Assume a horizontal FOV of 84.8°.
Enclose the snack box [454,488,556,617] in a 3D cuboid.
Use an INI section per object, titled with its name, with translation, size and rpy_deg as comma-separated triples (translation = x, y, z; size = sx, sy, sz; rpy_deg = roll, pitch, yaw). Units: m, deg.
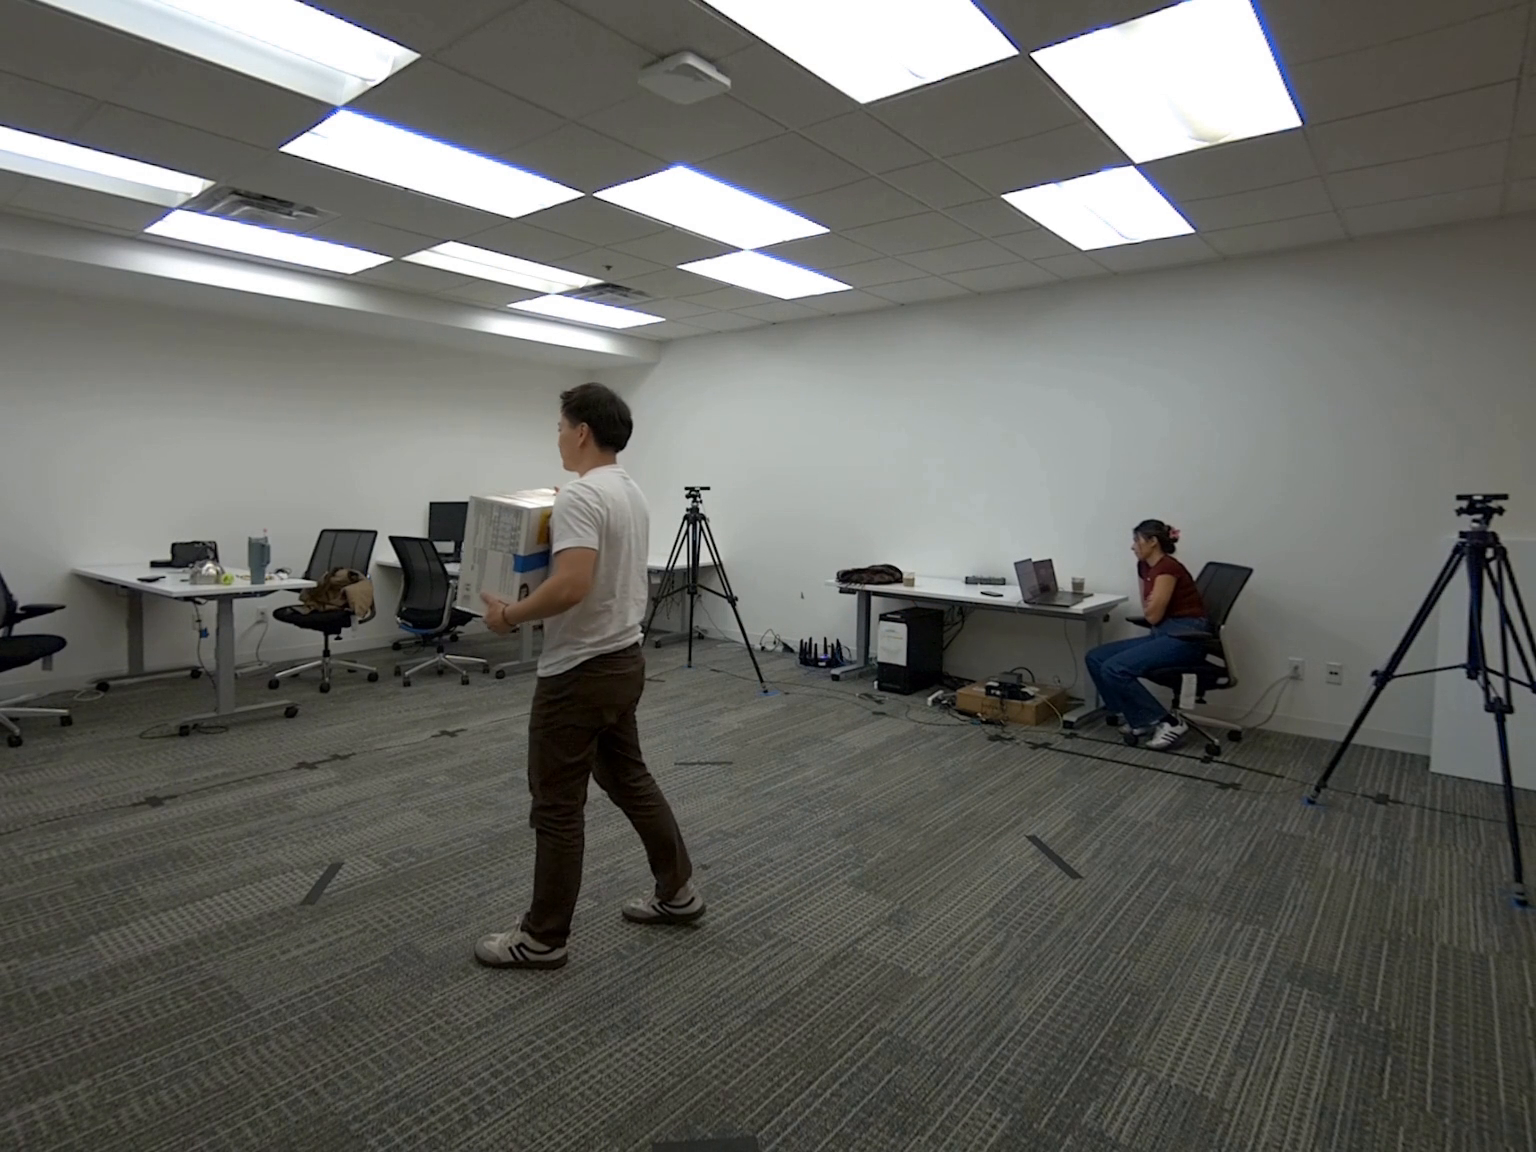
[snack box]
translation = -0.738, -0.074, 2.601
size = 0.210, 0.338, 0.400
rpy_deg = 12, 10, 15
